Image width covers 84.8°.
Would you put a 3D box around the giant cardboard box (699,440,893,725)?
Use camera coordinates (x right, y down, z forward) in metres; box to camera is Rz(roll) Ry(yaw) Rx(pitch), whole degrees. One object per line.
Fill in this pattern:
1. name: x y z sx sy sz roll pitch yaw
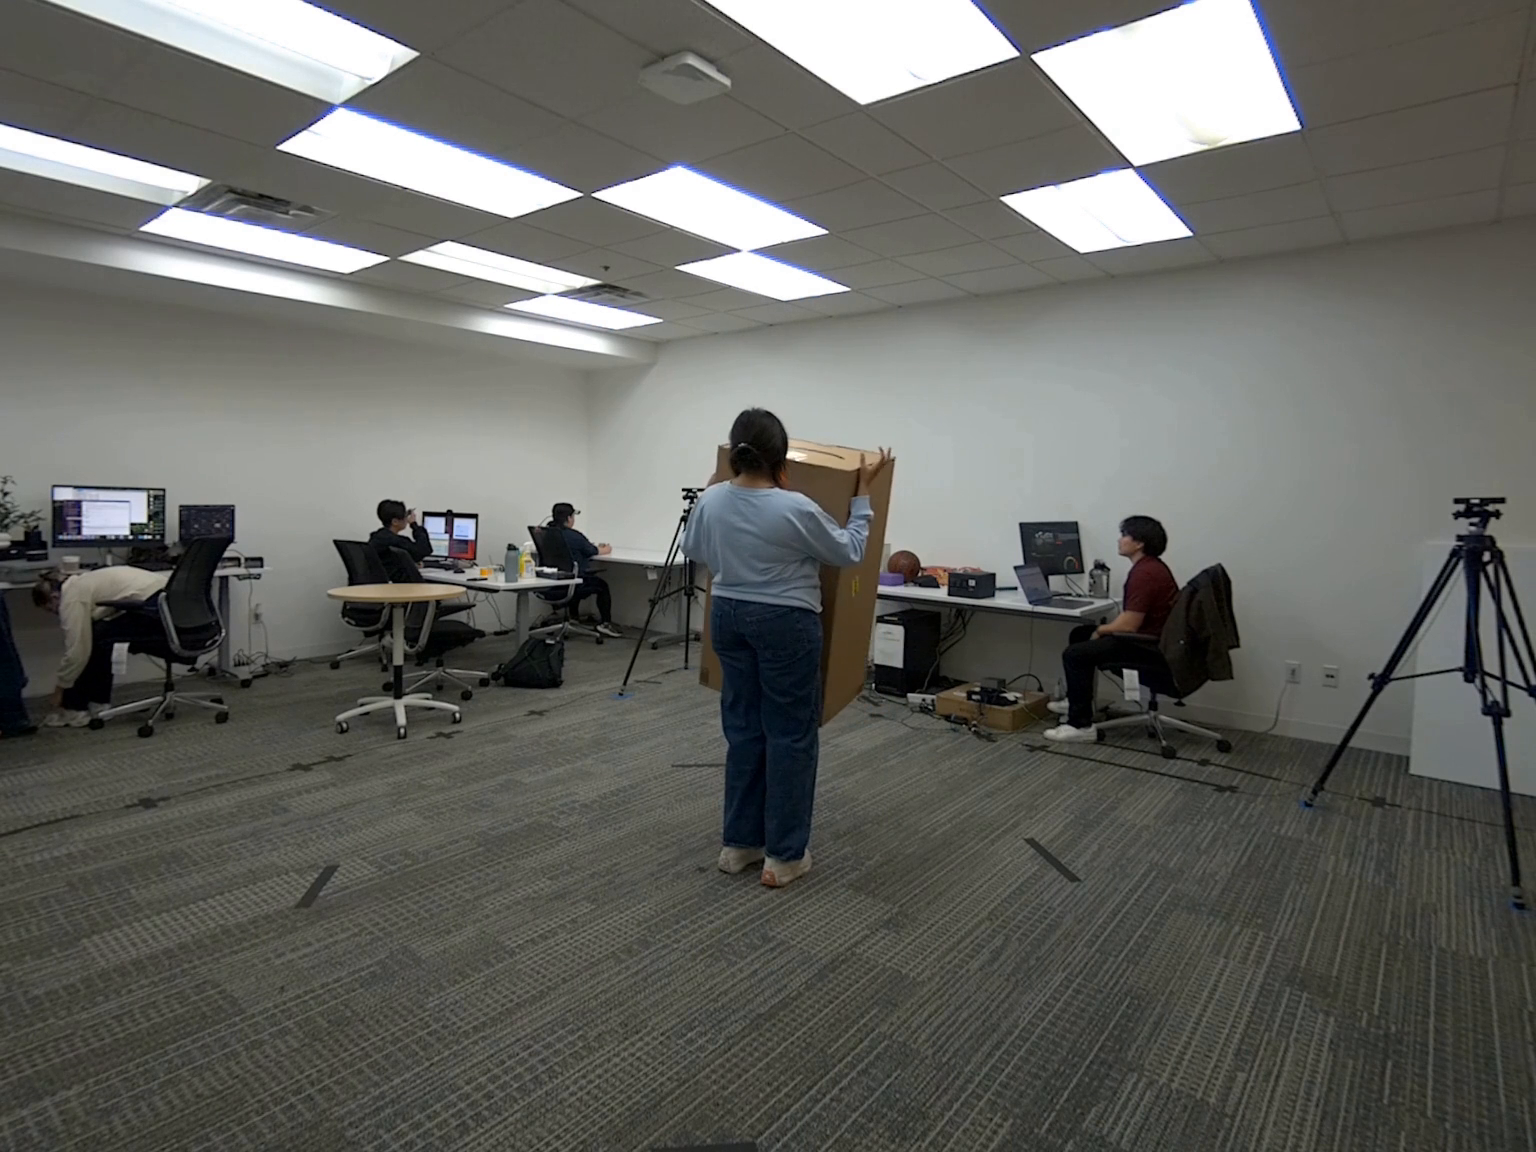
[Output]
1. giant cardboard box: 0.095 -0.009 3.461 0.604 1.012 0.438 15 19 30
